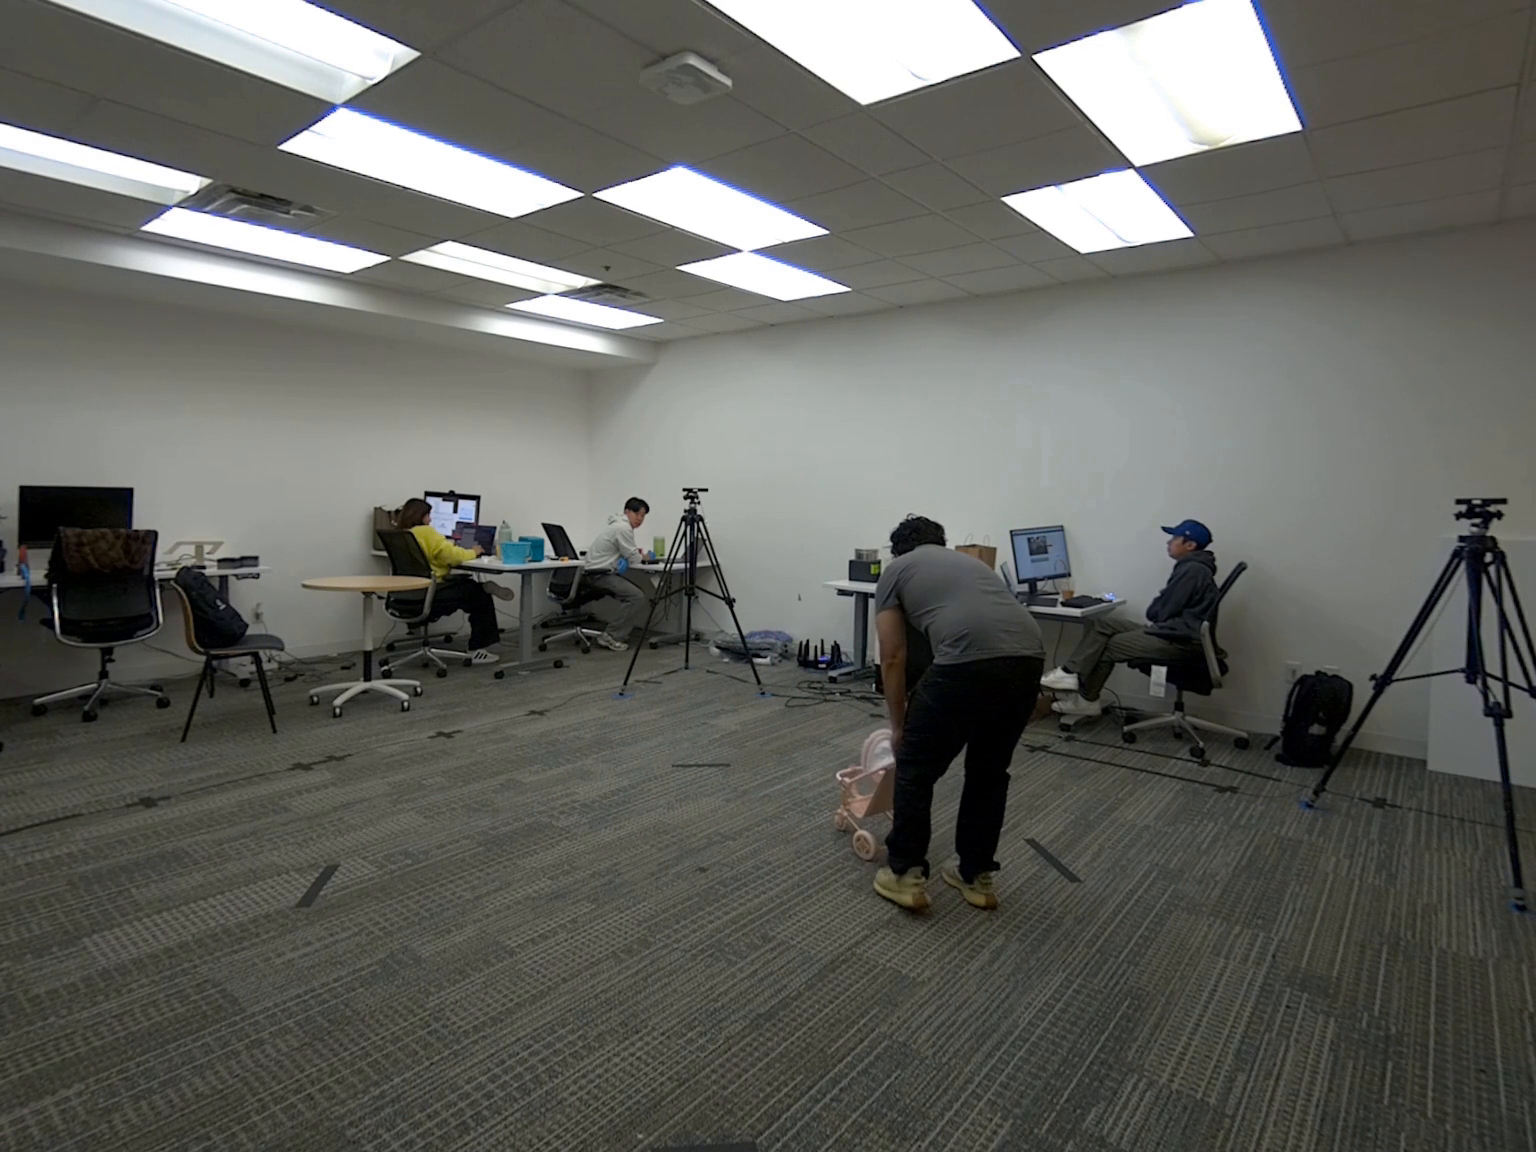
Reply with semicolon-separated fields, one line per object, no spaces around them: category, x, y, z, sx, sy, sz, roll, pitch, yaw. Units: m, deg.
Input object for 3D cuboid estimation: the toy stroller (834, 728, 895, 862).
toy stroller;0.418;0.833;3.345;0.273;0.528;0.355;-1;20;-34
